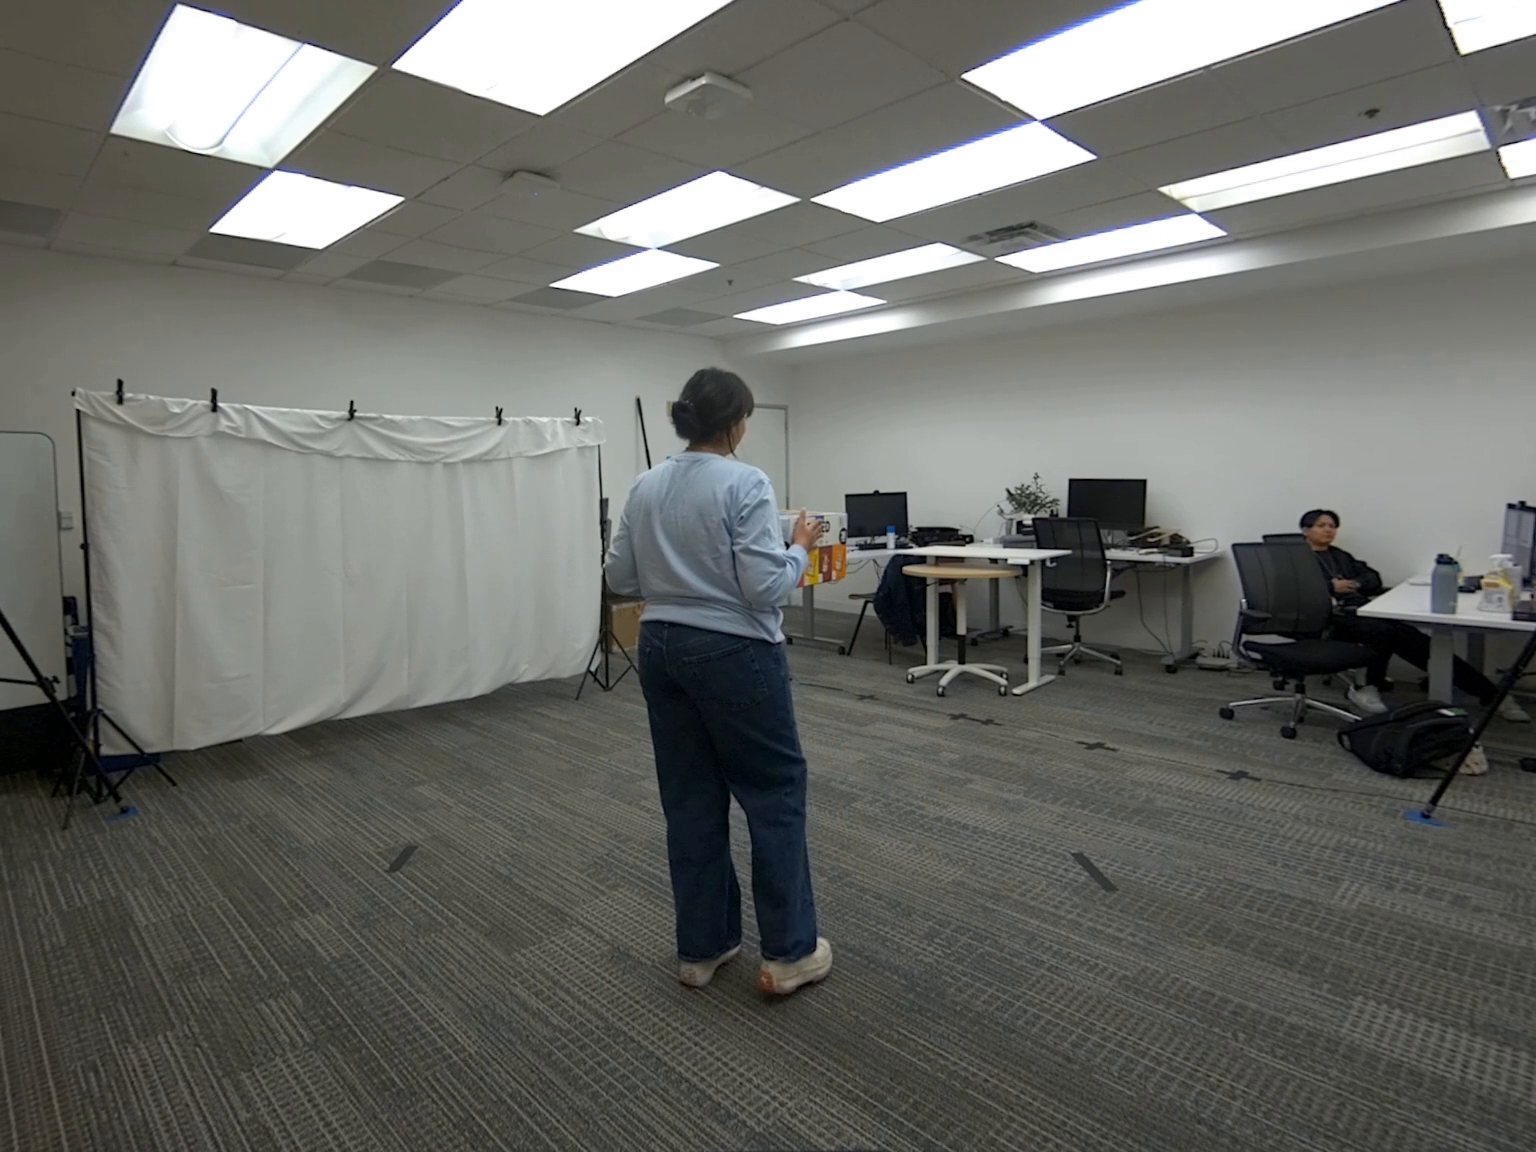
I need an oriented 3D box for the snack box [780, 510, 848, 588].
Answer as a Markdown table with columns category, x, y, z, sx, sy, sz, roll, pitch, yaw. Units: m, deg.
| category | x | y | z | sx | sy | sz | roll | pitch | yaw |
| --- | --- | --- | --- | --- | --- | --- | --- | --- | --- |
| snack box | -0.009 | -0.095 | 2.643 | 0.417 | 0.204 | 0.332 | 6 | 8 | 34 |
